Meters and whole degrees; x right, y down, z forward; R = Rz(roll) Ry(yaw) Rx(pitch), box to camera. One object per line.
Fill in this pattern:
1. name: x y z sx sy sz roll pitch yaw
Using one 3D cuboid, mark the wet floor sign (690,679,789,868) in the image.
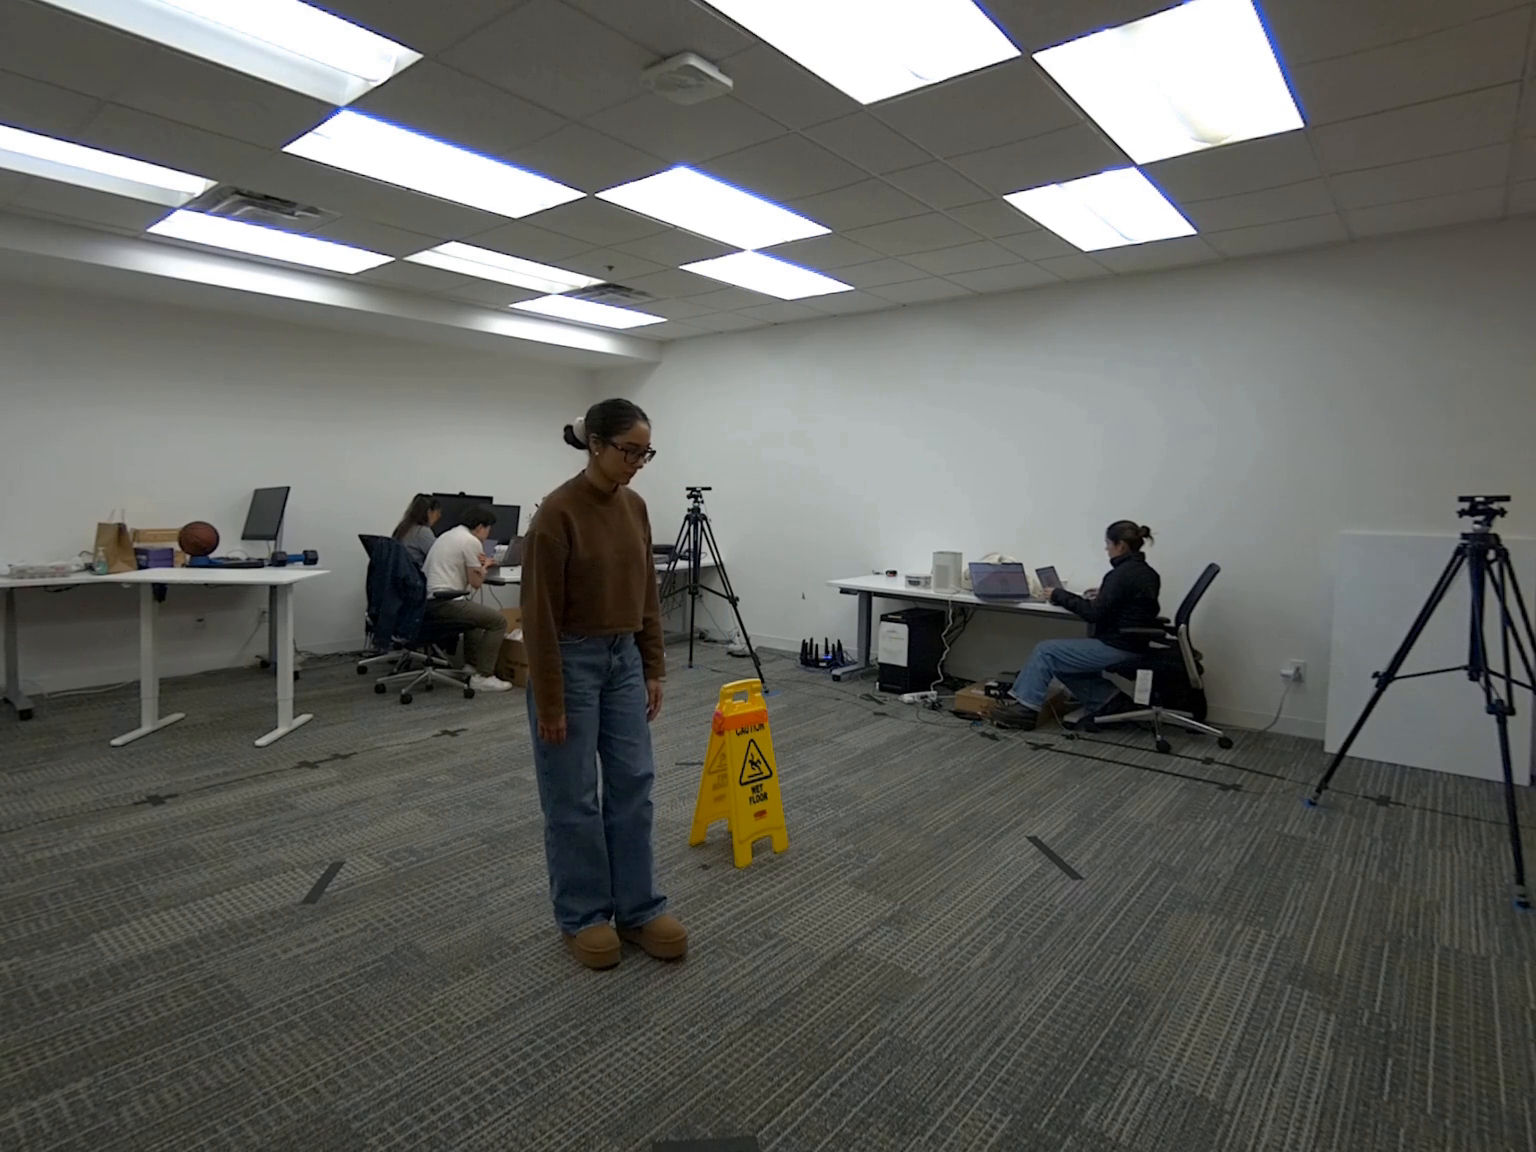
1. wet floor sign: -0.114 0.726 3.284 0.273 0.644 0.299 -2 4 -44
